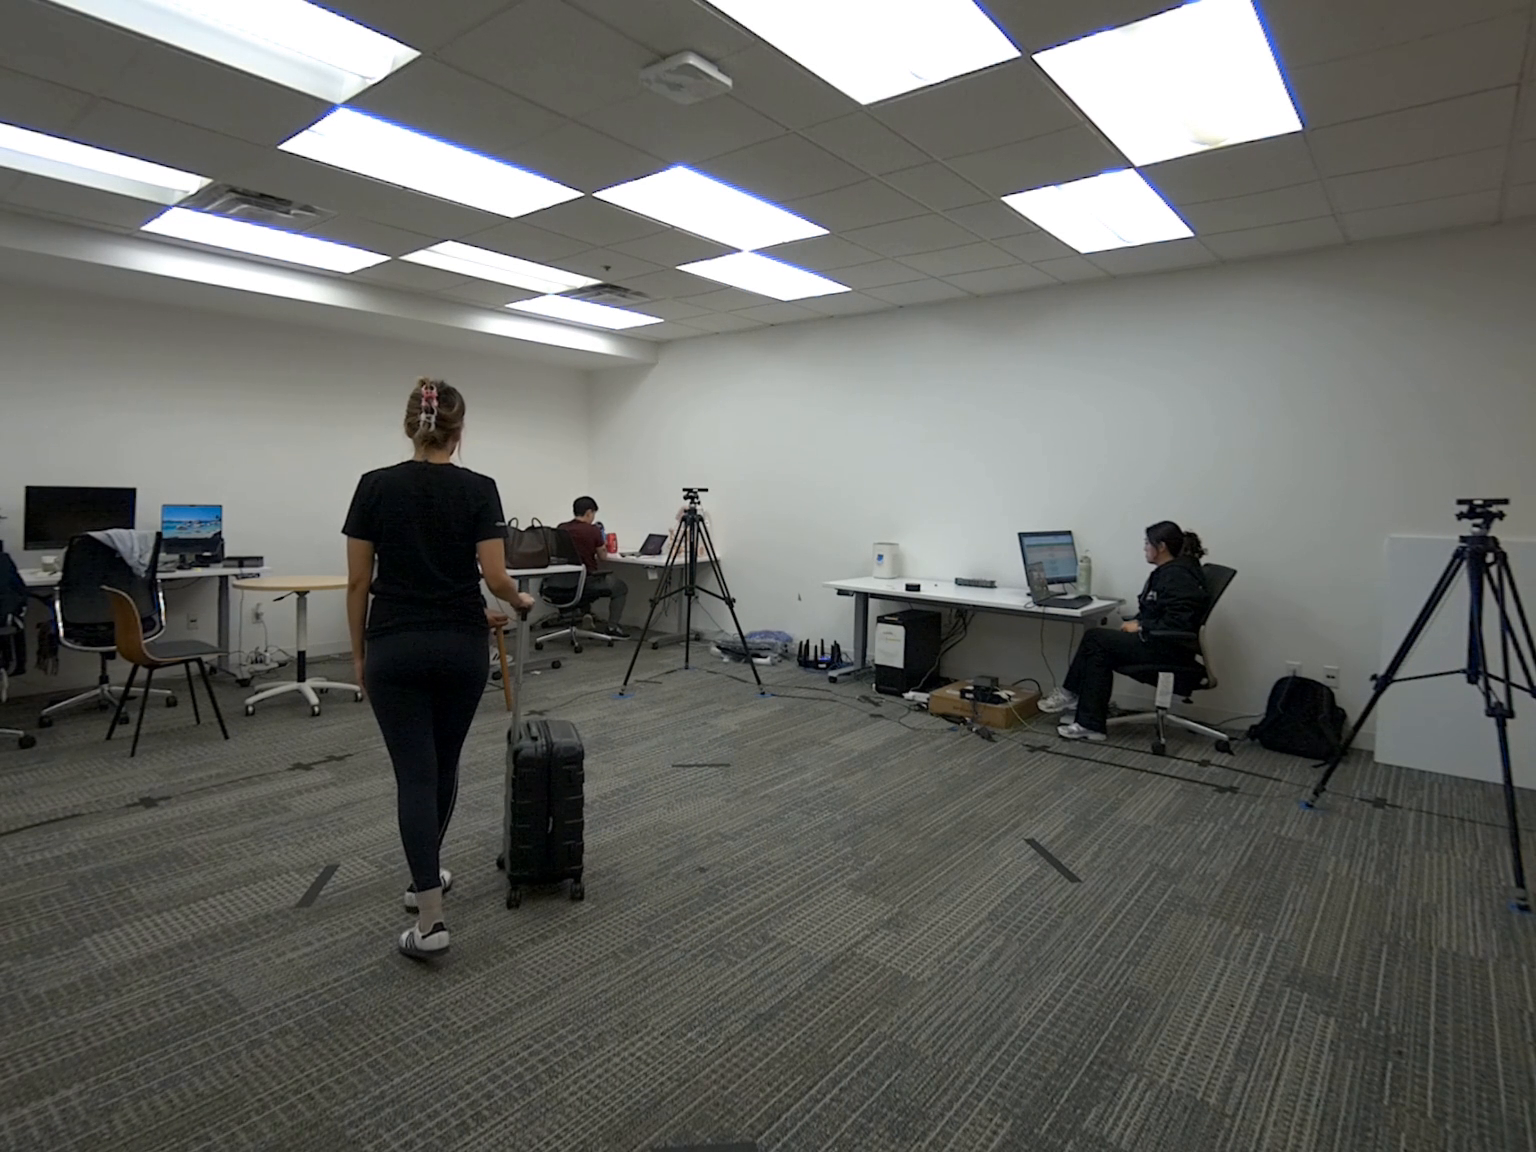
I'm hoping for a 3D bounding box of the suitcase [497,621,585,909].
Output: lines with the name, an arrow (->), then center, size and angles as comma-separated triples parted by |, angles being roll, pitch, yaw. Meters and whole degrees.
suitcase -> -0.791, 0.598, 2.981 | 0.252, 0.976, 0.393 | 1, 3, -20
